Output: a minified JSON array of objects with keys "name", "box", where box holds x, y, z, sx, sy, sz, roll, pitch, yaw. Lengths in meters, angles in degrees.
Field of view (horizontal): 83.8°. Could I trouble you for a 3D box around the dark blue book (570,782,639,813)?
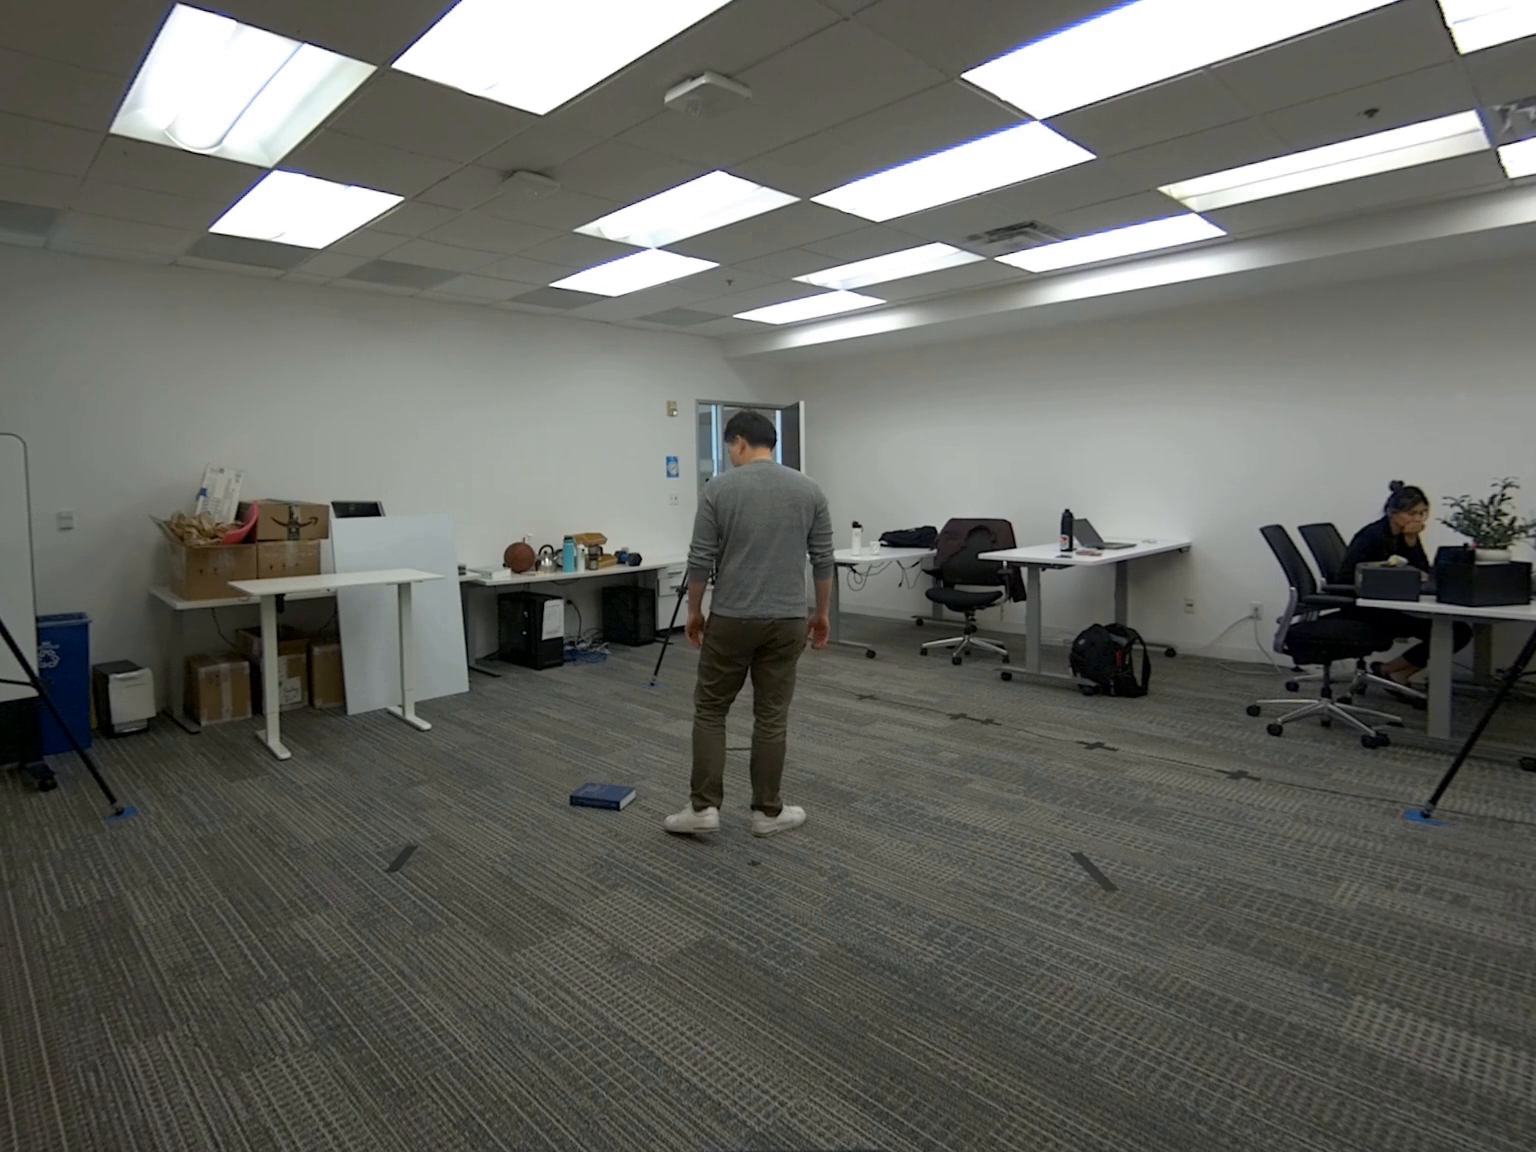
[{"name":"dark blue book","box":[-0.715,0.961,3.739,0.249,0.045,0.161,1,7,18]}]
